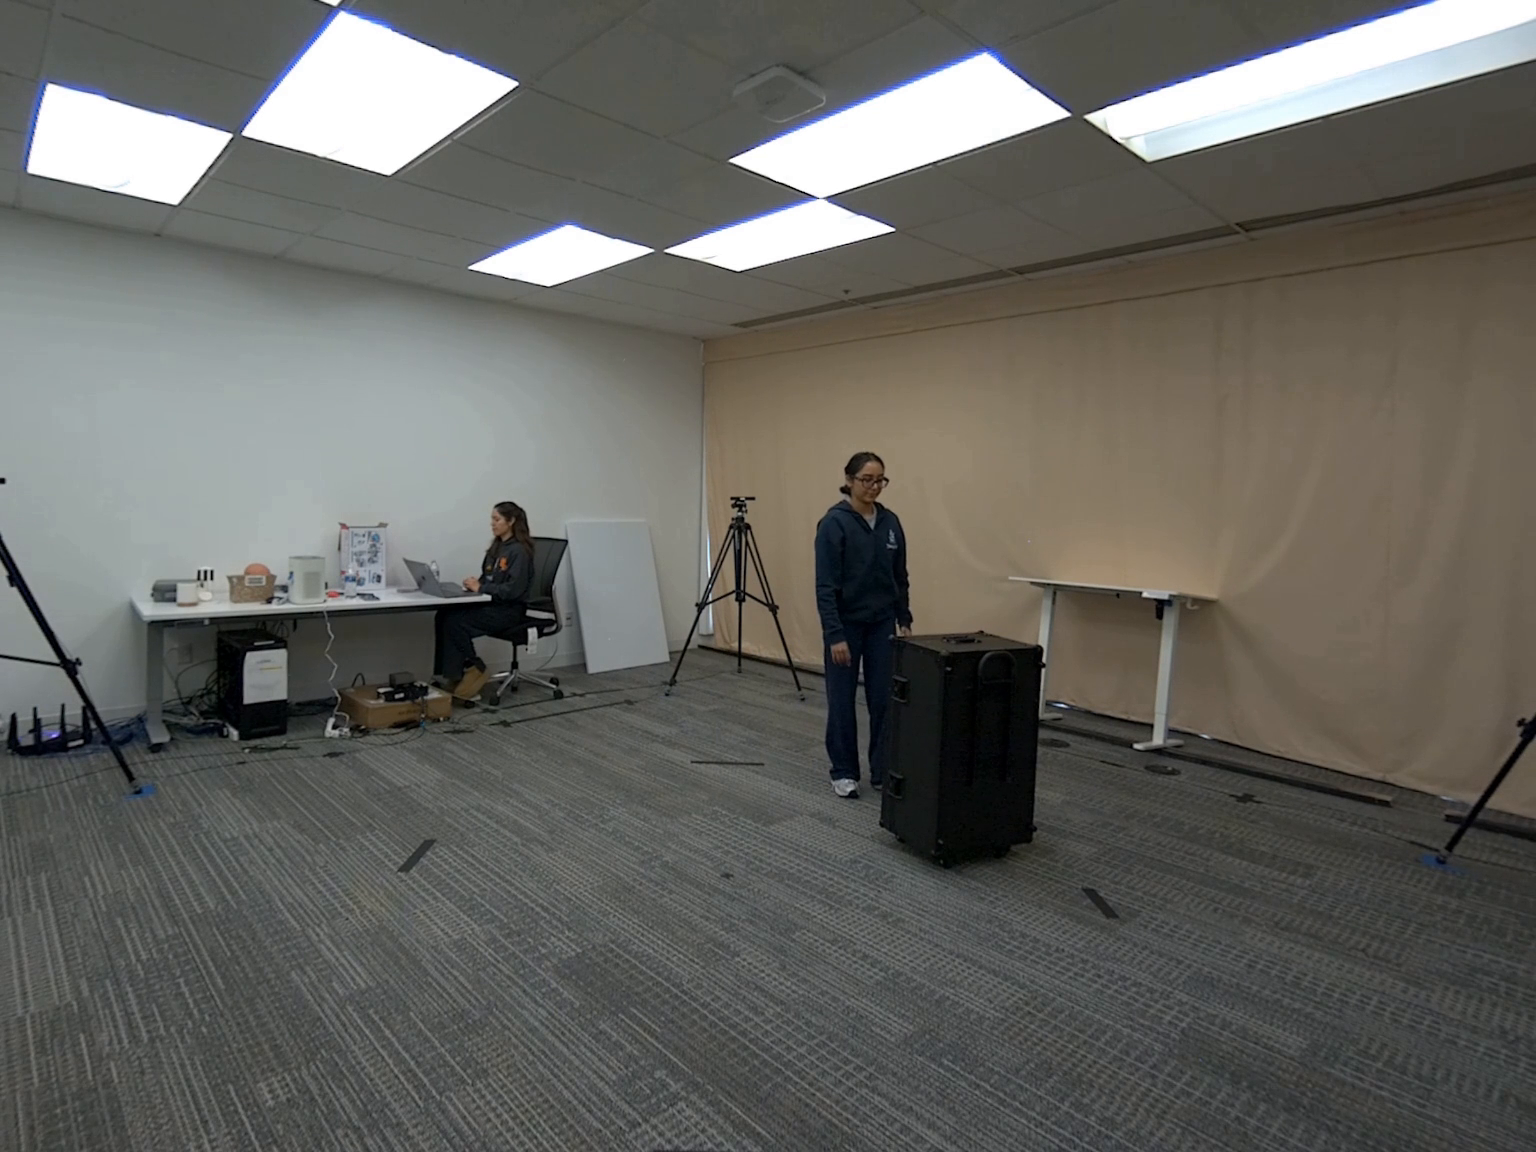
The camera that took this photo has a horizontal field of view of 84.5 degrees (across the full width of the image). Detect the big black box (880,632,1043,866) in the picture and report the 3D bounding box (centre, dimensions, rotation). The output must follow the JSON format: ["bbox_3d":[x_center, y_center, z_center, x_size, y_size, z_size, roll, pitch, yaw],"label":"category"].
[{"bbox_3d":[0.764,0.683,3.366,0.511,0.859,0.405,0,5,-26],"label":"big black box"}]
